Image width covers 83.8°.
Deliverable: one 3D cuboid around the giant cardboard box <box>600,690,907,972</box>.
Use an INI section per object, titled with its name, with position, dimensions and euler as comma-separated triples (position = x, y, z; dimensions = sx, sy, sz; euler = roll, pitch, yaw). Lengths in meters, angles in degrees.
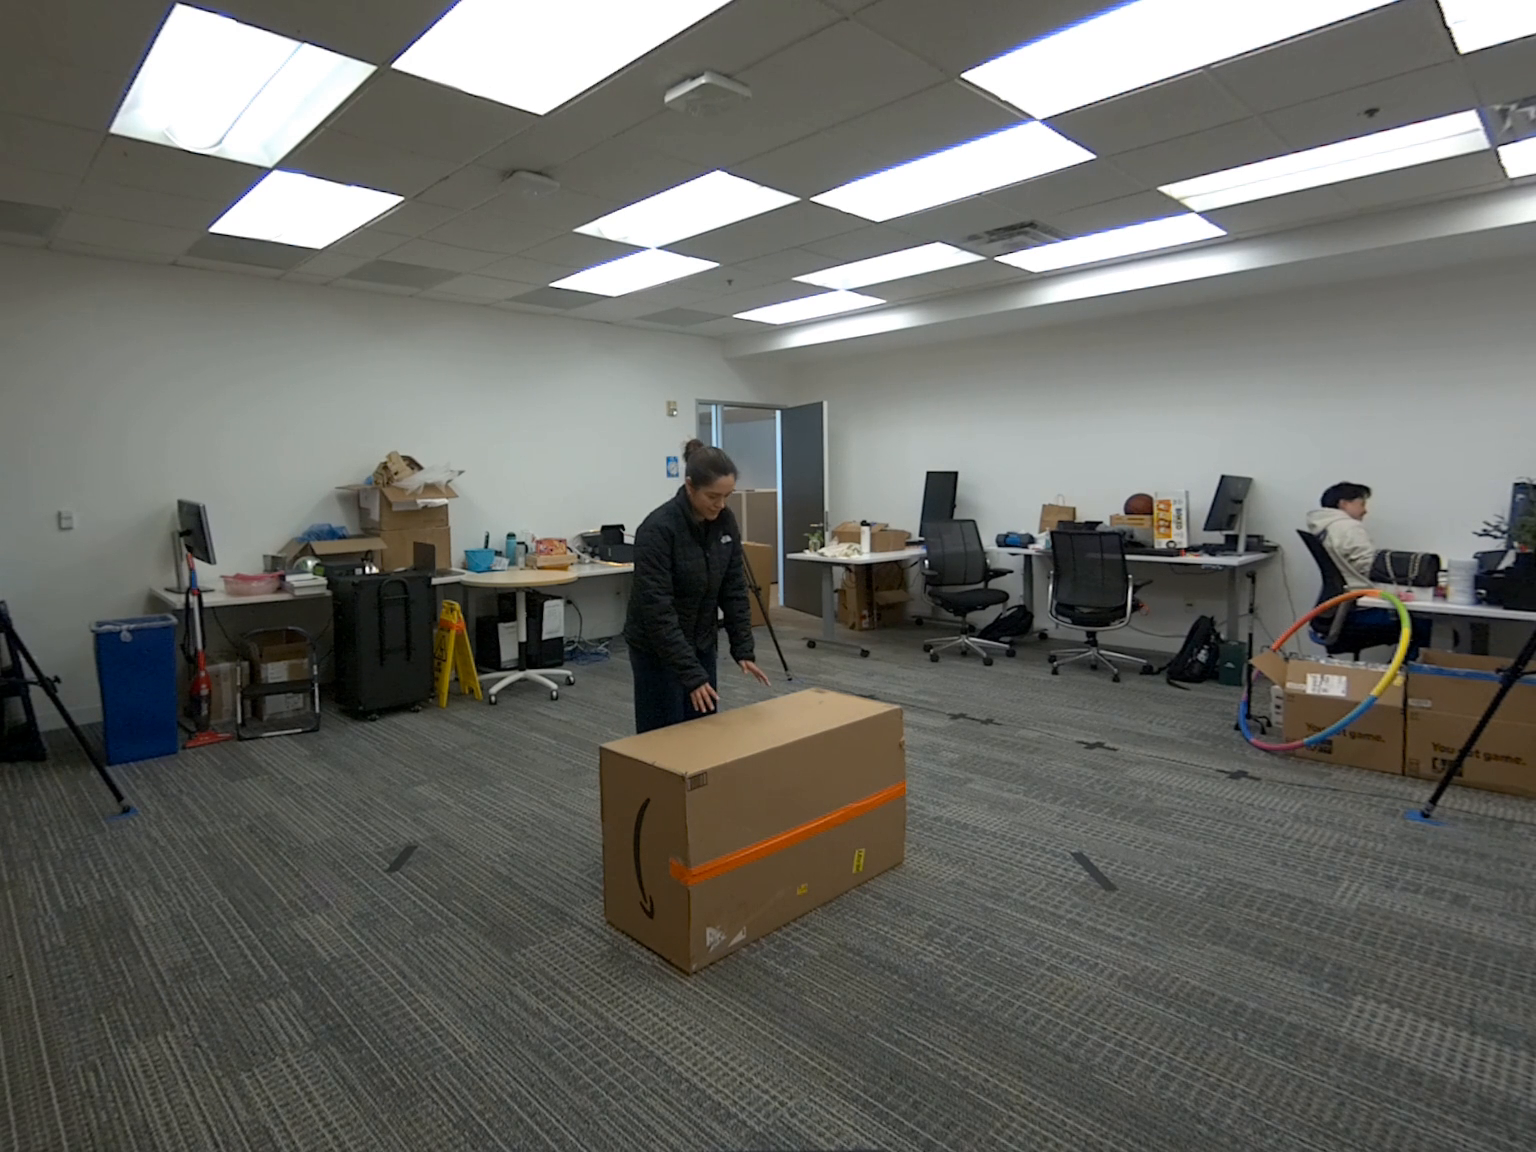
[giant cardboard box]
position = -0.013, 0.781, 2.893
dimensions = 1.000, 0.582, 0.460
euler = -7, 6, -44
